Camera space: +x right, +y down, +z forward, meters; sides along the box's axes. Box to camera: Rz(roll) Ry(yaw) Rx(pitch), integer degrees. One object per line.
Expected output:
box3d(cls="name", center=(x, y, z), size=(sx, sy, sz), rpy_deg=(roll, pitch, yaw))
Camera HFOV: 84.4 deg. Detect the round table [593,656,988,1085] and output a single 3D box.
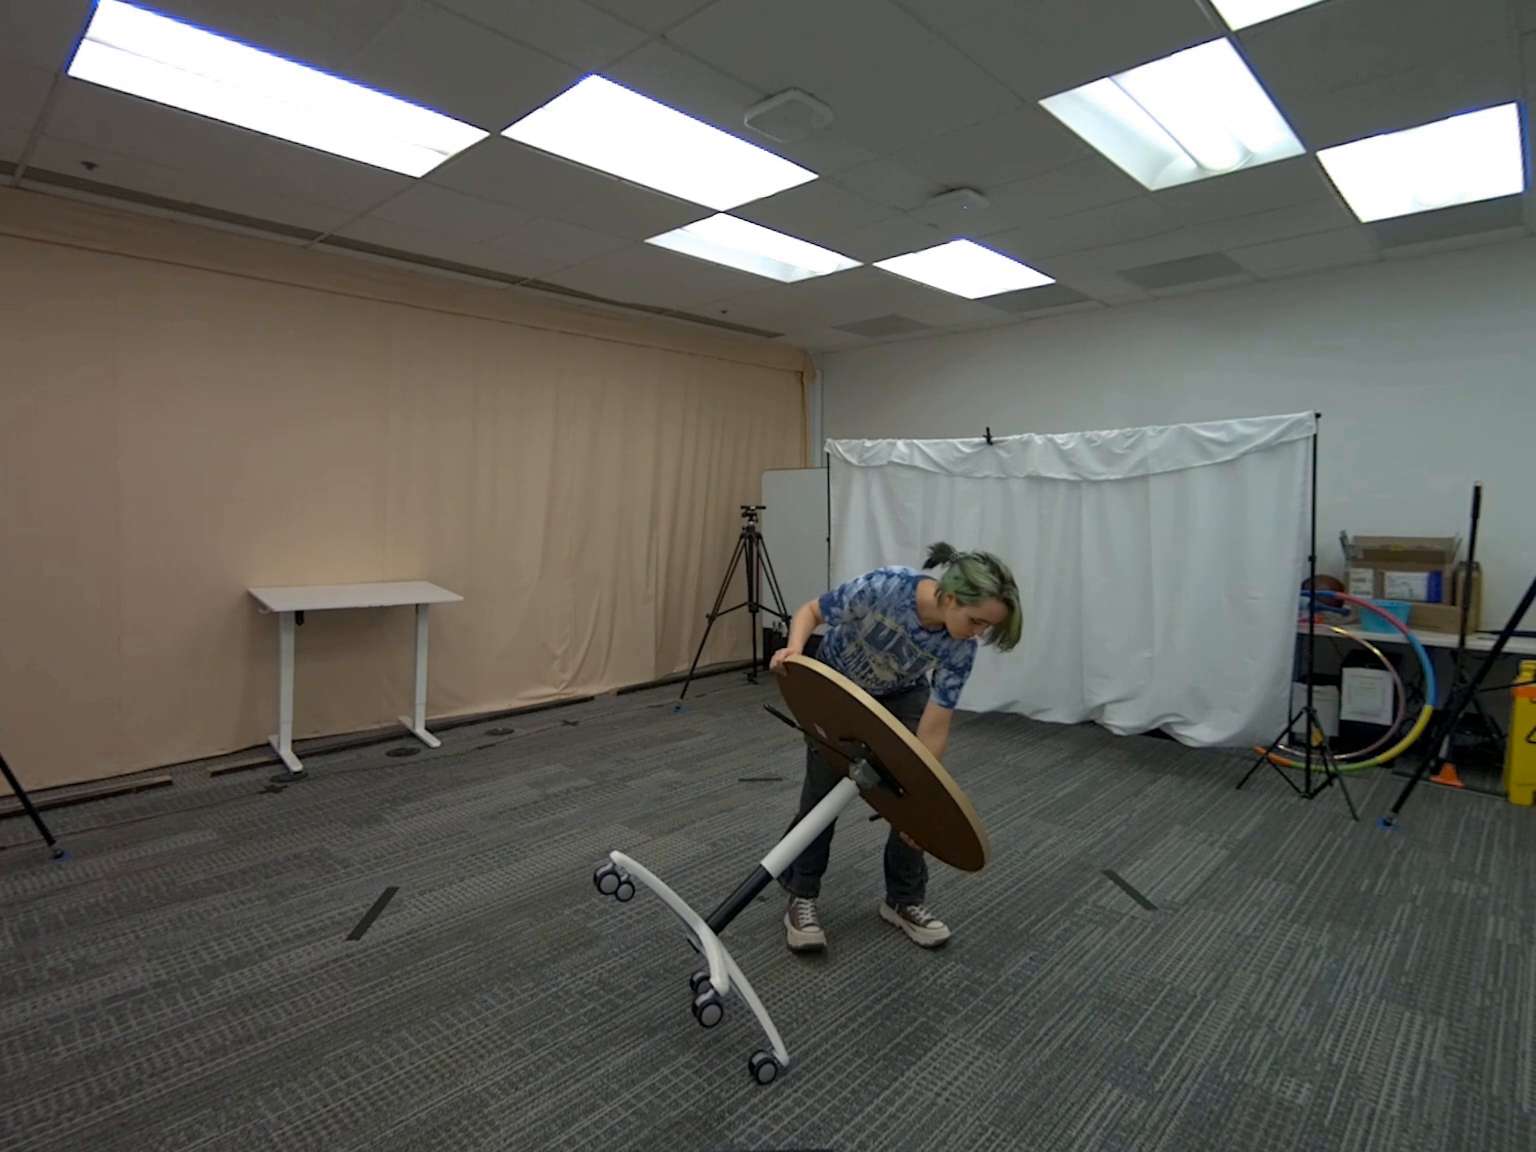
box3d(cls="round table", center=(0.030, 0.763, 2.255), size=(0.788, 0.750, 0.784), rpy_deg=(-41, 19, -17))
